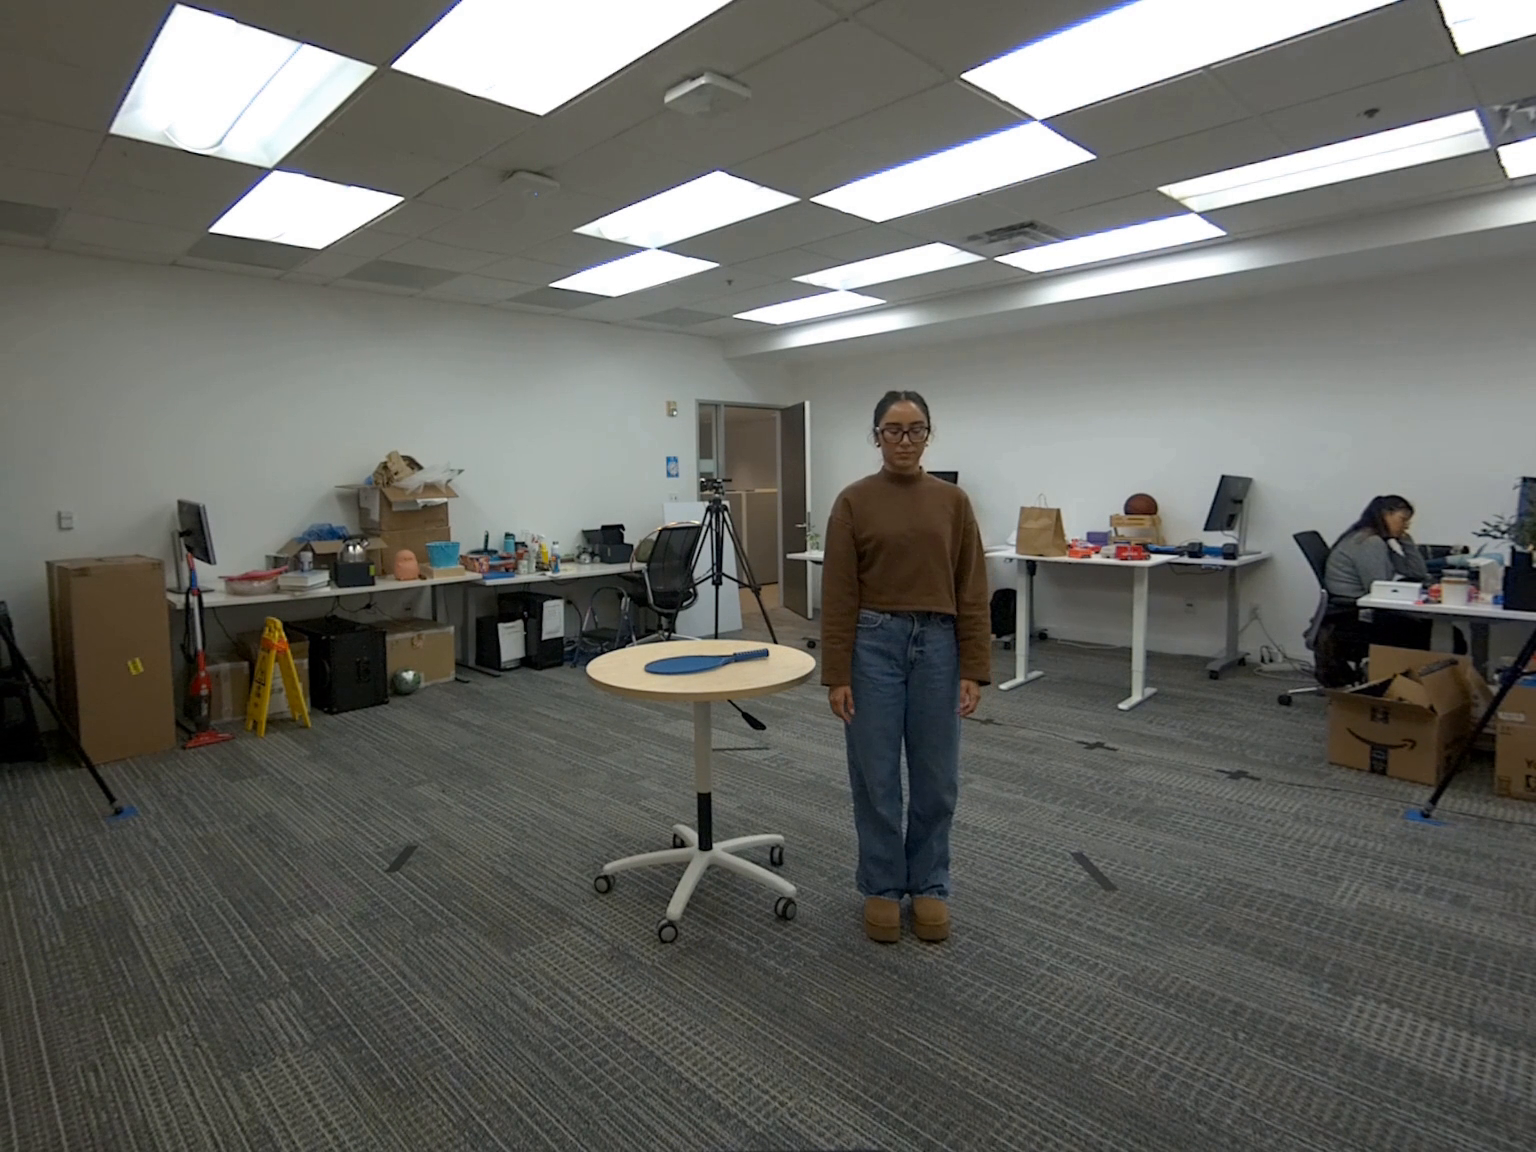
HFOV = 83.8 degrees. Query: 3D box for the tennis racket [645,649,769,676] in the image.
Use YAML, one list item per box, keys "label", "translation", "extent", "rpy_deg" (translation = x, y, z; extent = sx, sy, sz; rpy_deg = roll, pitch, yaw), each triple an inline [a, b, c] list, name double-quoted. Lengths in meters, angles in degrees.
- label: "tennis racket"
  translation: [-0.190, 0.290, 2.822]
  extent: [0.426, 0.031, 0.218]
  rpy_deg: [-5, 7, -17]
